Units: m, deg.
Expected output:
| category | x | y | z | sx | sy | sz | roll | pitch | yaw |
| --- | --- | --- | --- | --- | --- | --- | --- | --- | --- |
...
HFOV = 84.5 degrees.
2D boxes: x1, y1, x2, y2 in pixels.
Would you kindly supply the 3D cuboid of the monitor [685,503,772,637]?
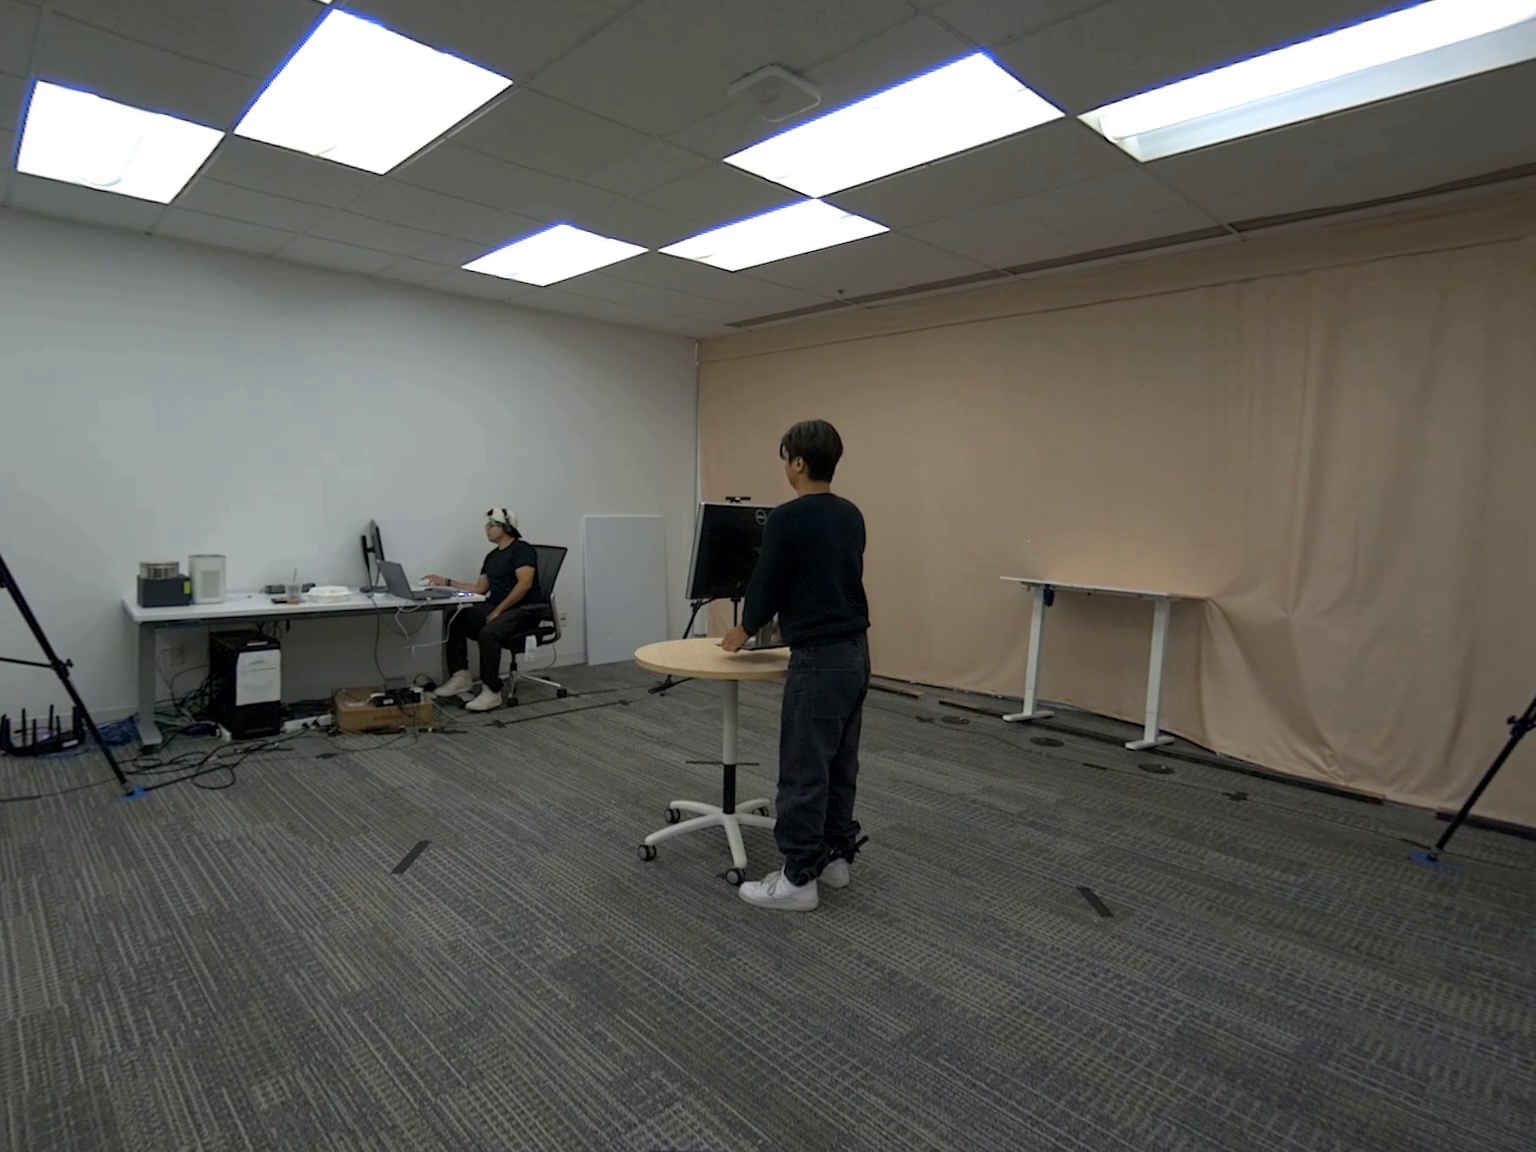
| category | x | y | z | sx | sy | sz | roll | pitch | yaw |
| --- | --- | --- | --- | --- | --- | --- | --- | --- | --- |
| monitor | -0.047 | 0.002 | 3.217 | 0.191 | 0.523 | 0.526 | 0 | 0 | 44 |
